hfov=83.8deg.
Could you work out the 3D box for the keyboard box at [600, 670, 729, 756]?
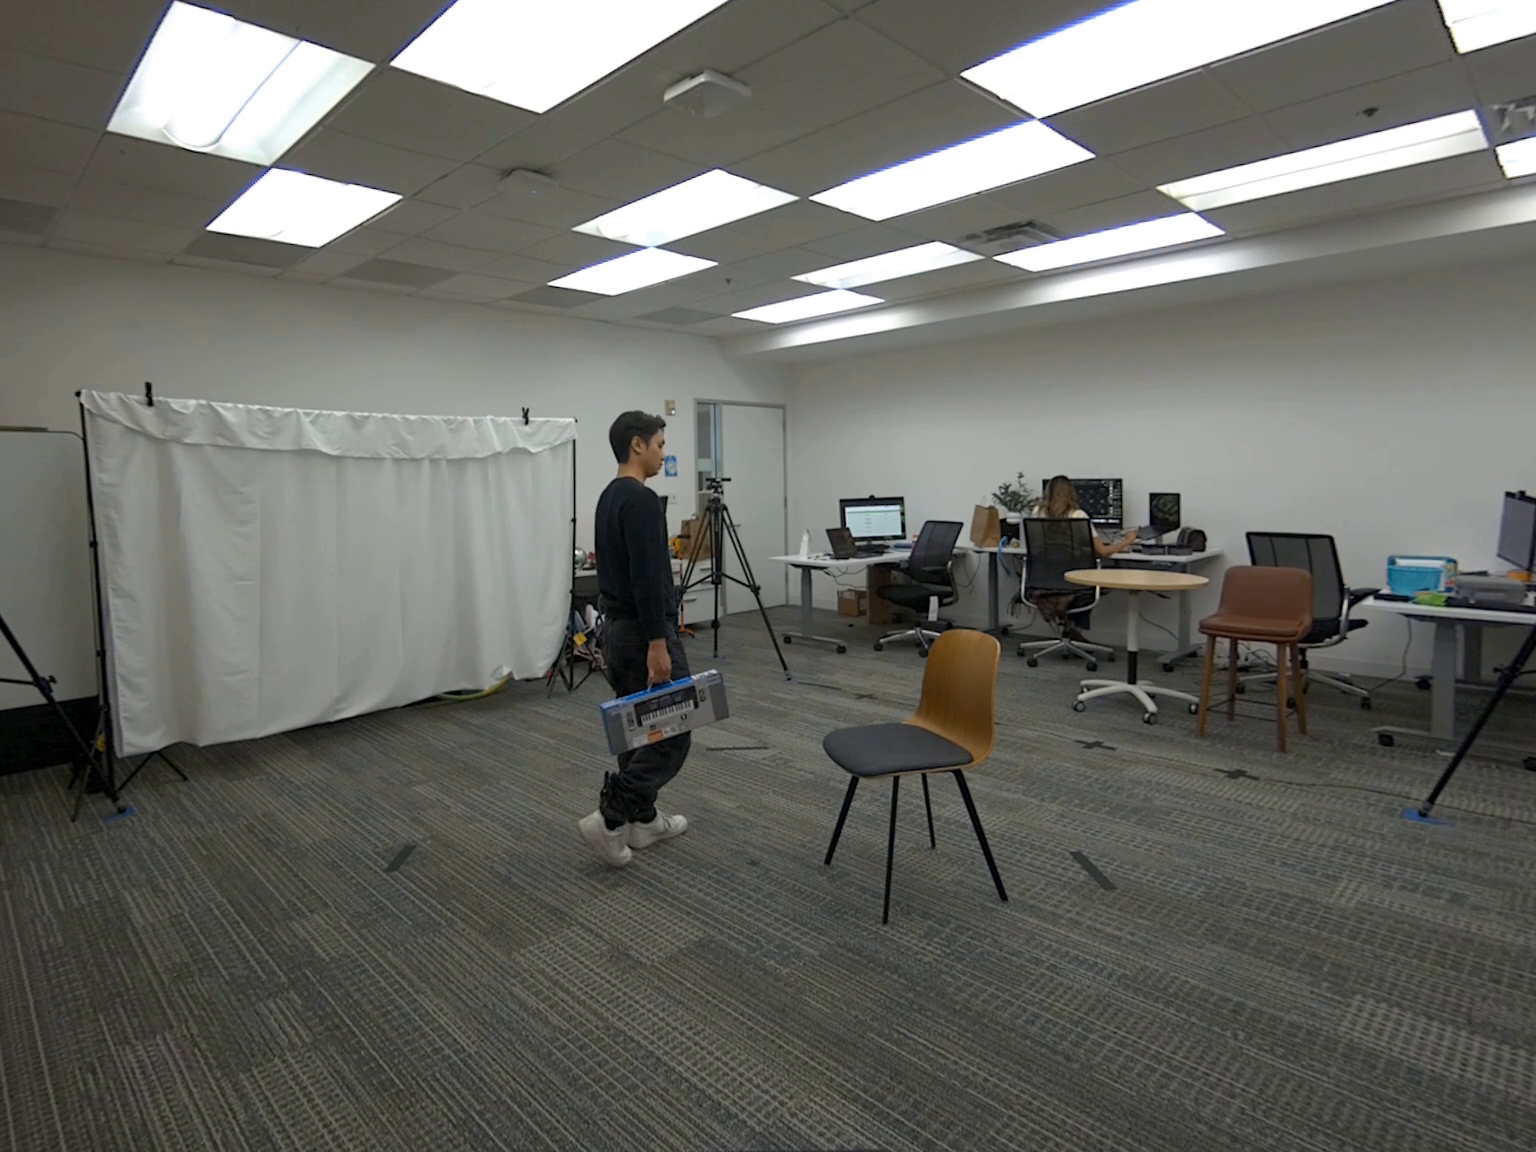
[{"bbox_3d":[-0.362,0.473,2.963,0.431,0.174,0.060,-14,10,-20],"label":"keyboard box"}]
